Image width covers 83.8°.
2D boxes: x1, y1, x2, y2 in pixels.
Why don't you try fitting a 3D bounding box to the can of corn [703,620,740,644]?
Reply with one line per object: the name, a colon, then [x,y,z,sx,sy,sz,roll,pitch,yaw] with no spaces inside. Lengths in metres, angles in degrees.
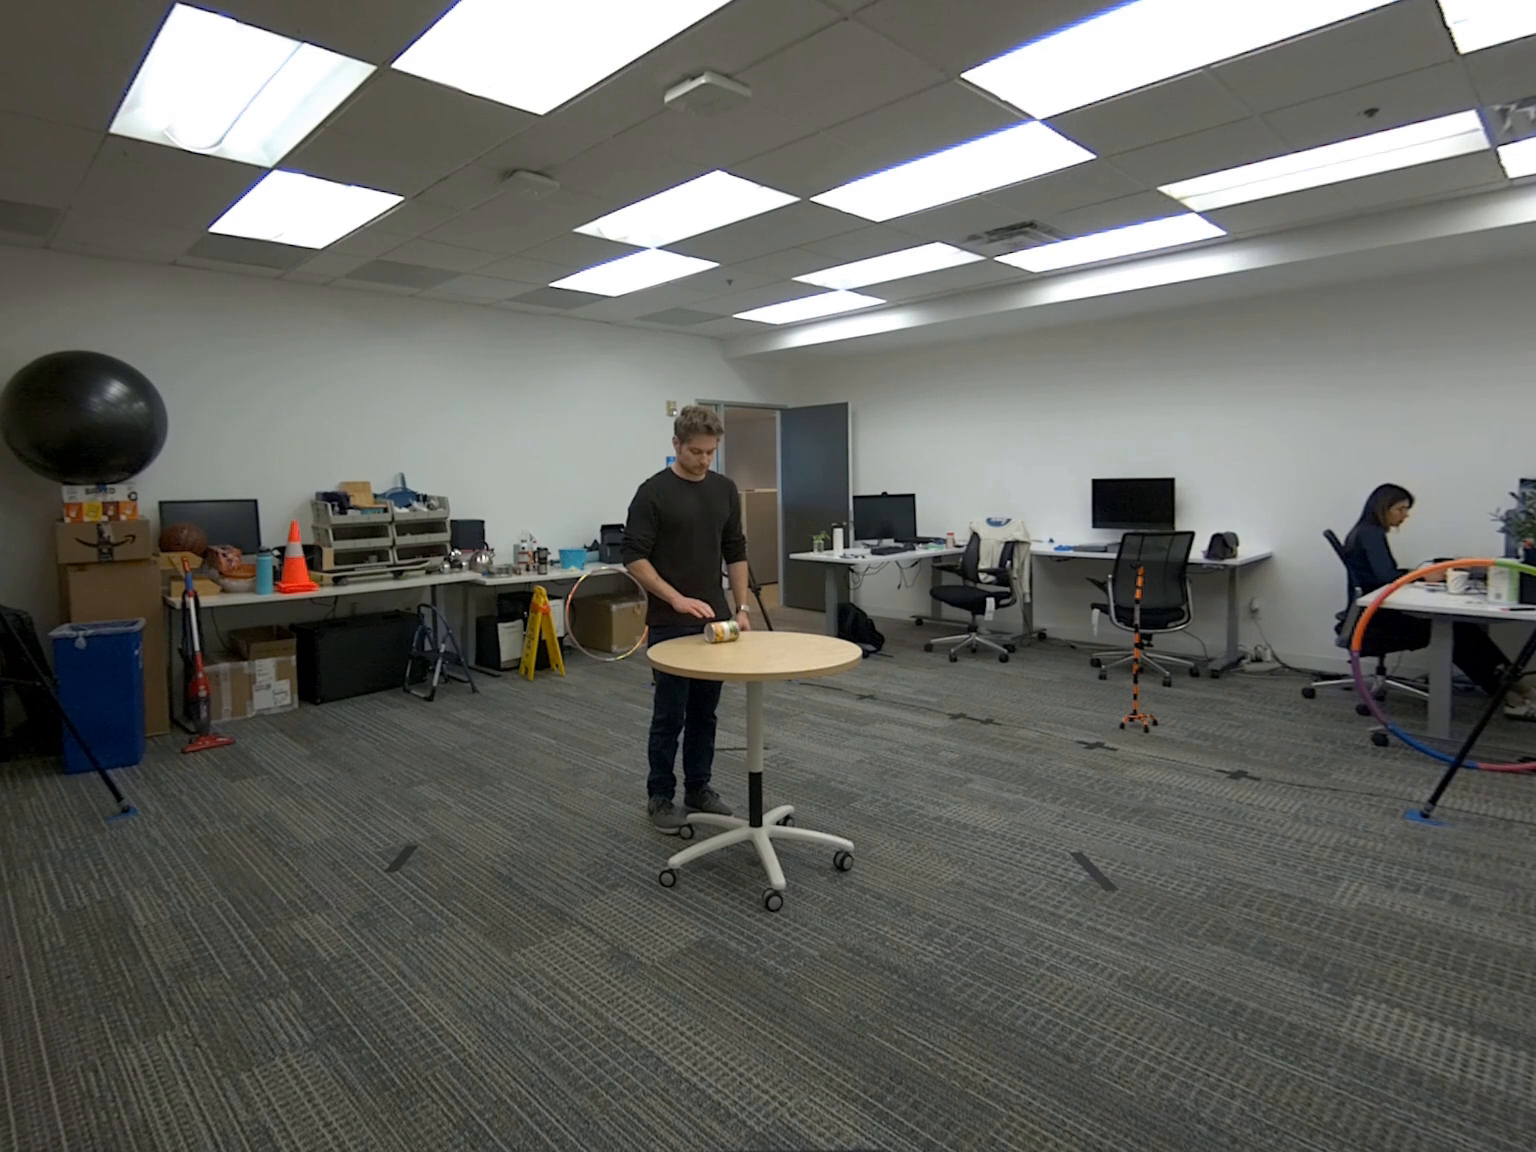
can of corn: [-0.178,0.210,3.224,0.108,0.074,0.076,-3,5,-33]
